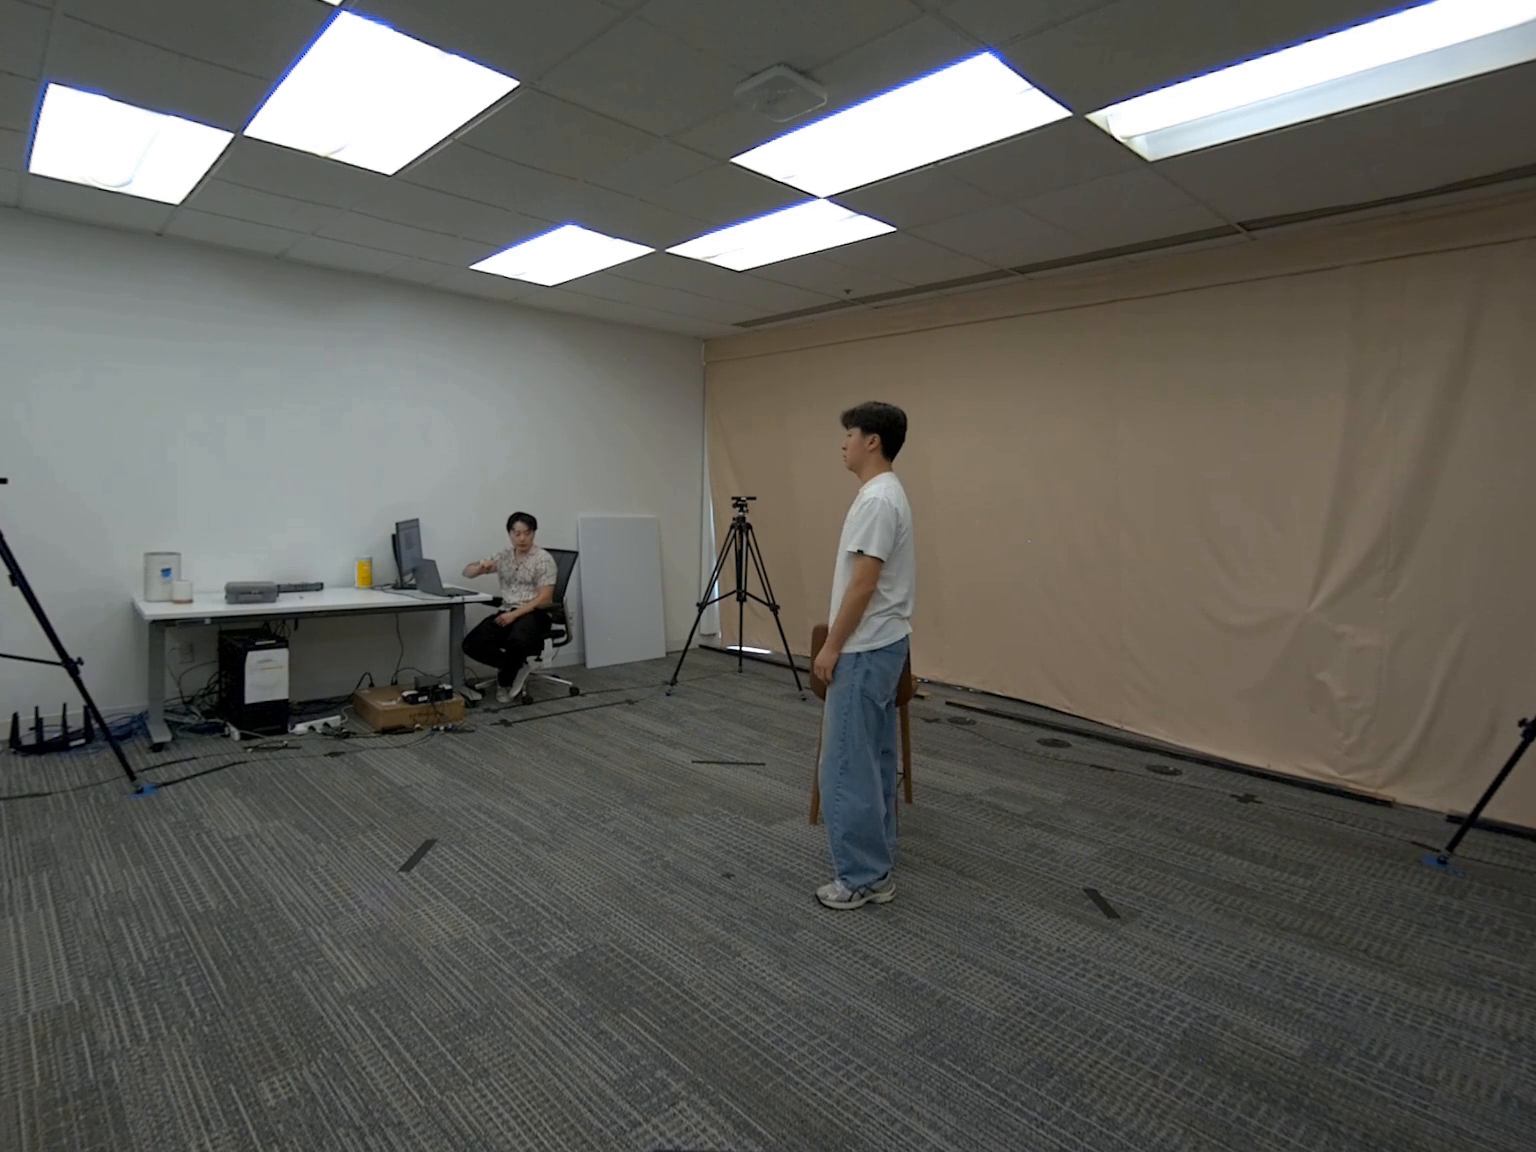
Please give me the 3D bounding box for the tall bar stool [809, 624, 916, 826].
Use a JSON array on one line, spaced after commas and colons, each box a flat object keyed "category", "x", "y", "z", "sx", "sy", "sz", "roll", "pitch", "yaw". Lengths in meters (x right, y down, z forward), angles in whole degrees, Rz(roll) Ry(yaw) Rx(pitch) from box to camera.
[{"category": "tall bar stool", "x": 0.421, "y": 0.626, "z": 3.749, "sx": 0.463, "sy": 0.886, "sz": 0.462, "roll": 2, "pitch": 5, "yaw": 18}]
